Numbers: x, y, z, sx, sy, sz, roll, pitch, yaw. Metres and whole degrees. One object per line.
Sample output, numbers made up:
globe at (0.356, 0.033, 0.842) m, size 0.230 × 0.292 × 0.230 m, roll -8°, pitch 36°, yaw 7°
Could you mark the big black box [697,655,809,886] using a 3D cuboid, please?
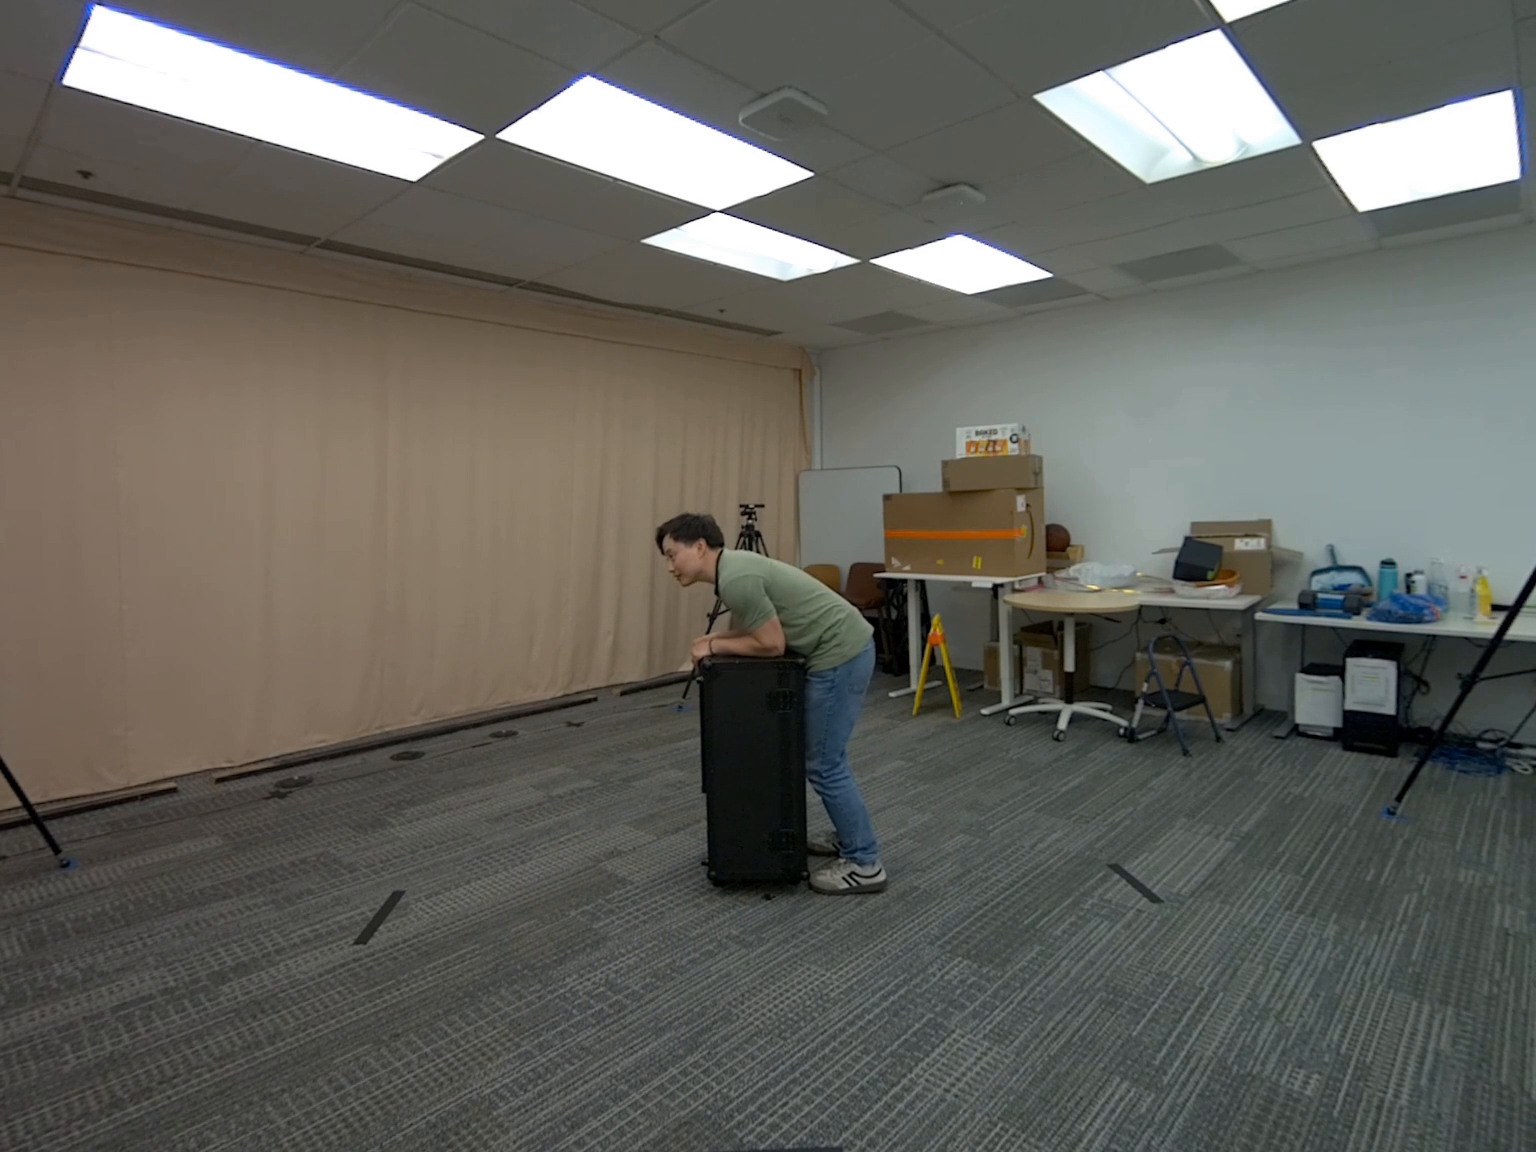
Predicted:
big black box at (-0.070, 0.709, 3.173) m, size 0.396 × 0.859 × 0.522 m, roll -1°, pitch 4°, yaw -1°
